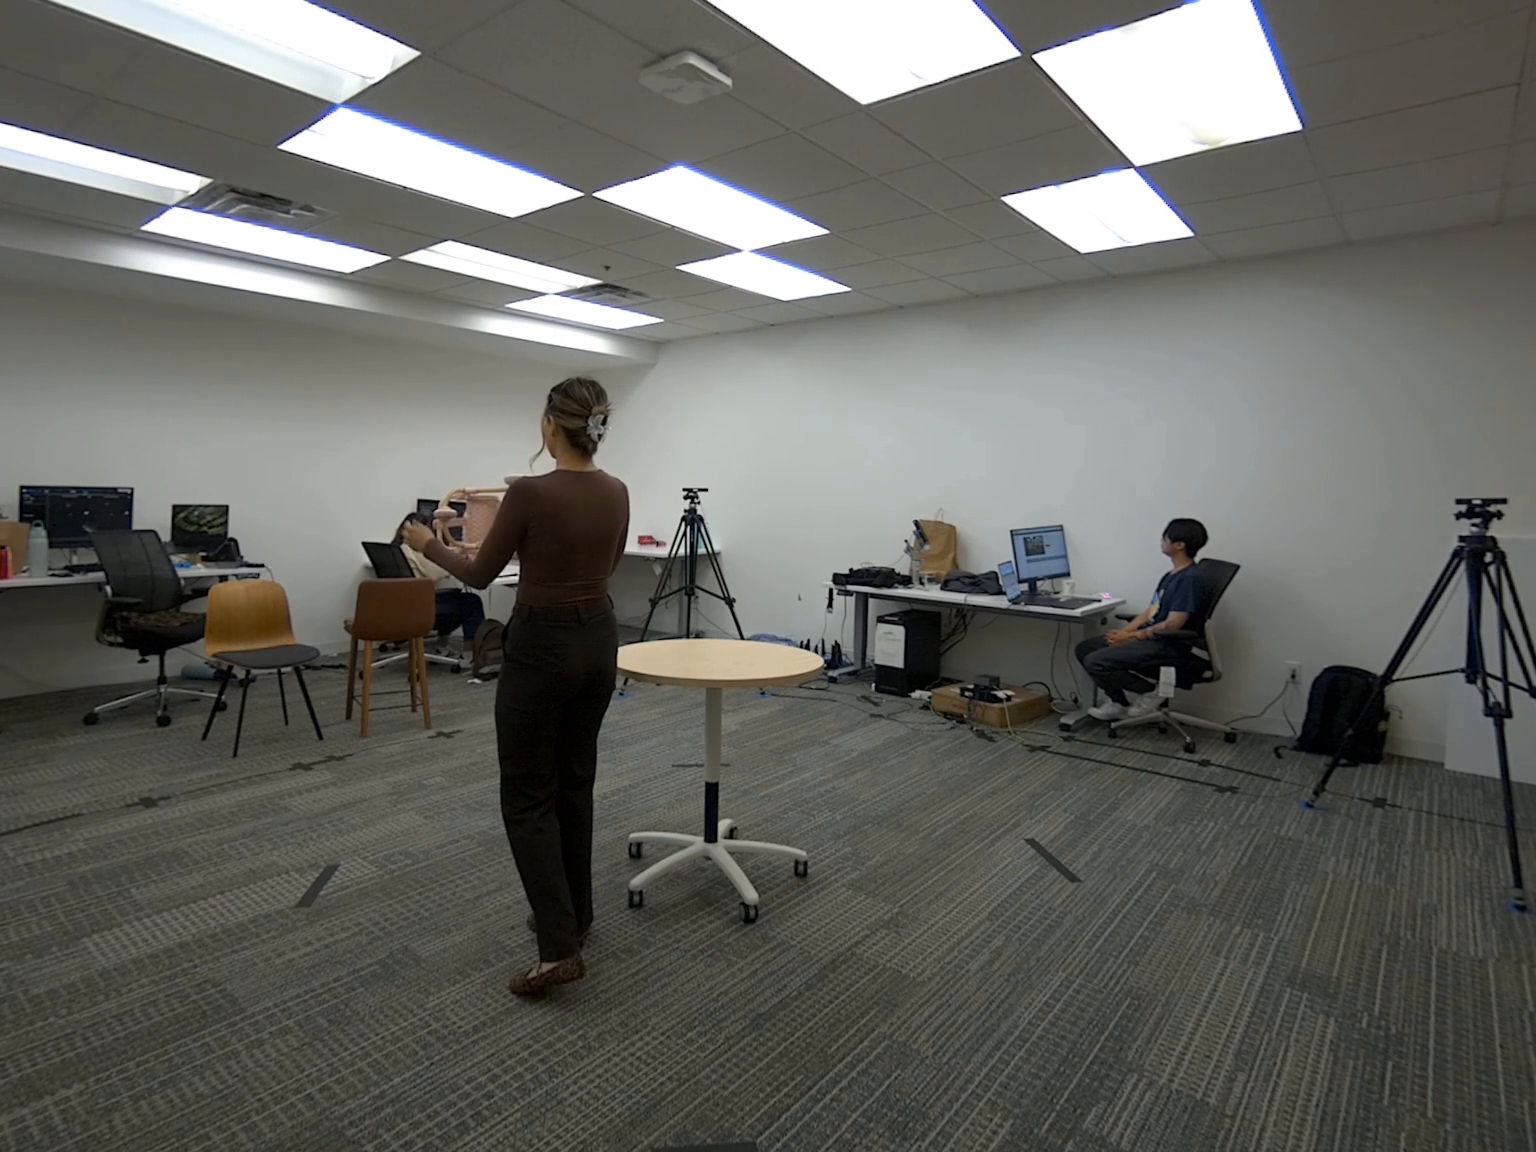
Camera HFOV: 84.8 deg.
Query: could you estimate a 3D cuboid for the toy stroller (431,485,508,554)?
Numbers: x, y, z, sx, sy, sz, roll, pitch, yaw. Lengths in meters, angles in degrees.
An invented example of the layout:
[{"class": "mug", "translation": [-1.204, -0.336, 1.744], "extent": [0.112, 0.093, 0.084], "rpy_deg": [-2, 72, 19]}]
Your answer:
[{"class": "toy stroller", "translation": [-0.997, -0.179, 2.934], "extent": [0.335, 0.282, 0.544], "rpy_deg": [-3, -1, -21]}]
